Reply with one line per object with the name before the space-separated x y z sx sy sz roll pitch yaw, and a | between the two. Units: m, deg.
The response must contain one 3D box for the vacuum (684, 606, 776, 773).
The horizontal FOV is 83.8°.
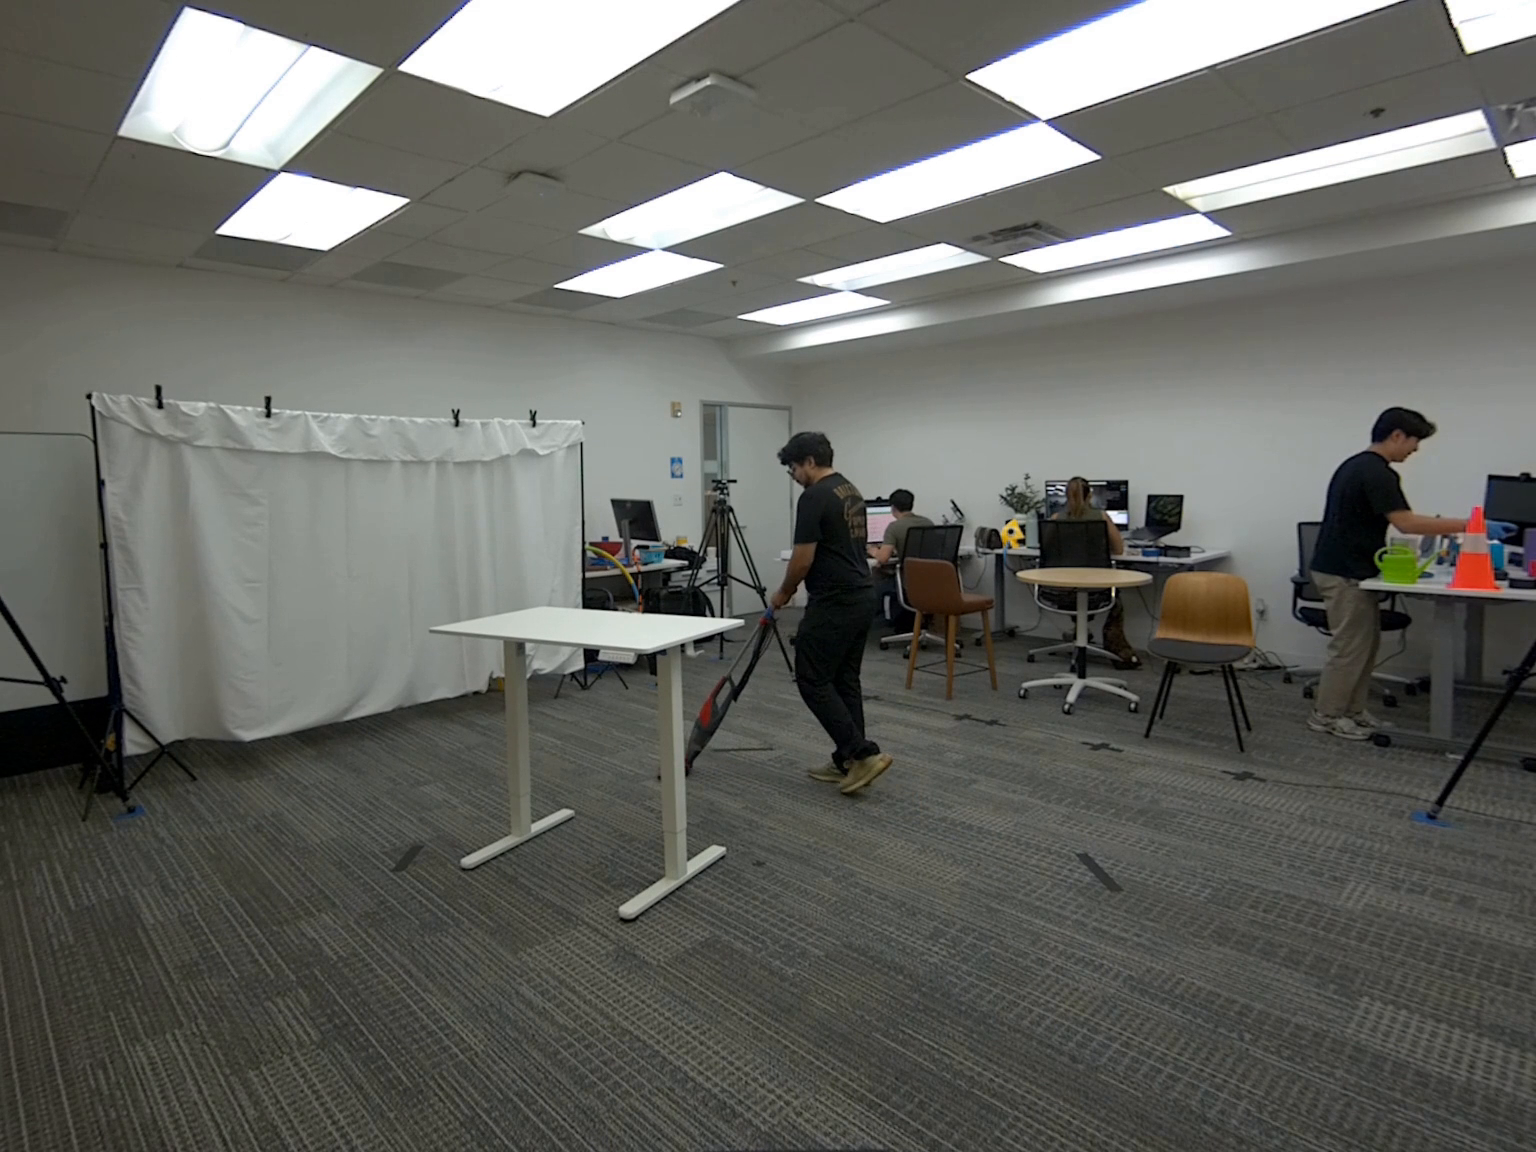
vacuum | -0.156 0.496 4.065 0.144 1.047 0.253 34 8 -1
